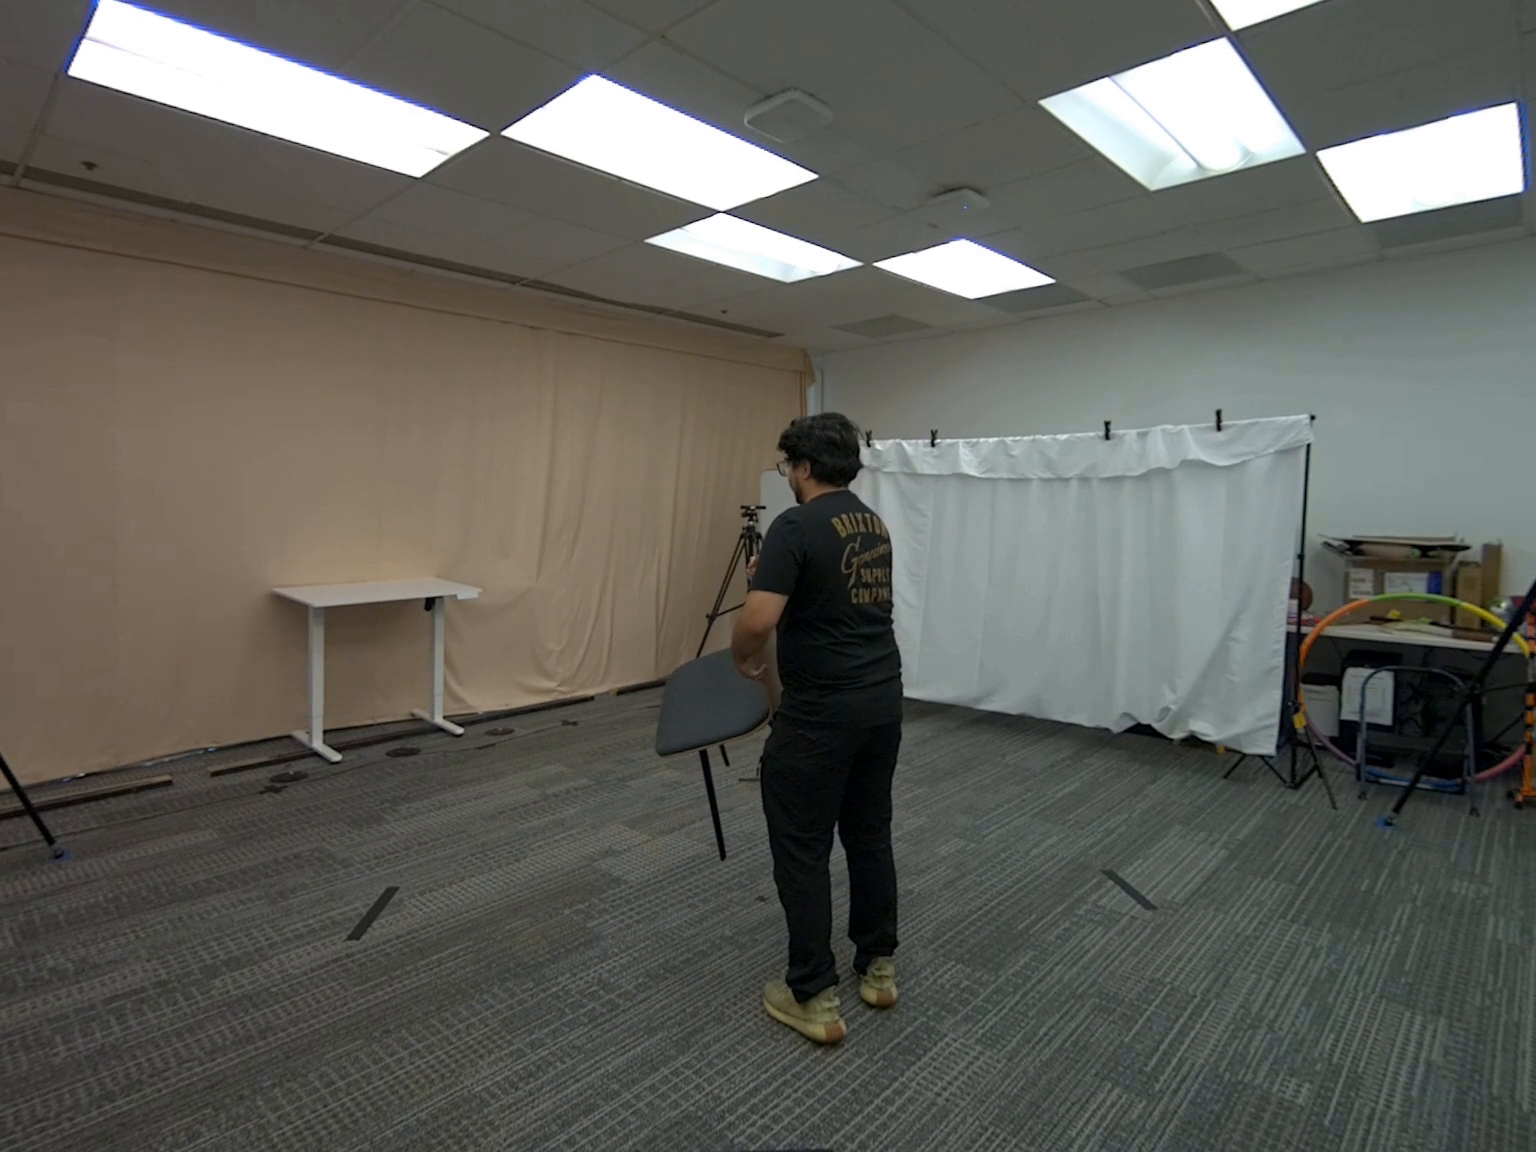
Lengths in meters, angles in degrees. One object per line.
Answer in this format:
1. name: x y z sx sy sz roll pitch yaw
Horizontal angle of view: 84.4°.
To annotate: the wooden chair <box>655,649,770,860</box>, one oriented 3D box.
1. wooden chair: -0.111 0.421 2.729 0.528 0.857 0.485 -16 28 10
